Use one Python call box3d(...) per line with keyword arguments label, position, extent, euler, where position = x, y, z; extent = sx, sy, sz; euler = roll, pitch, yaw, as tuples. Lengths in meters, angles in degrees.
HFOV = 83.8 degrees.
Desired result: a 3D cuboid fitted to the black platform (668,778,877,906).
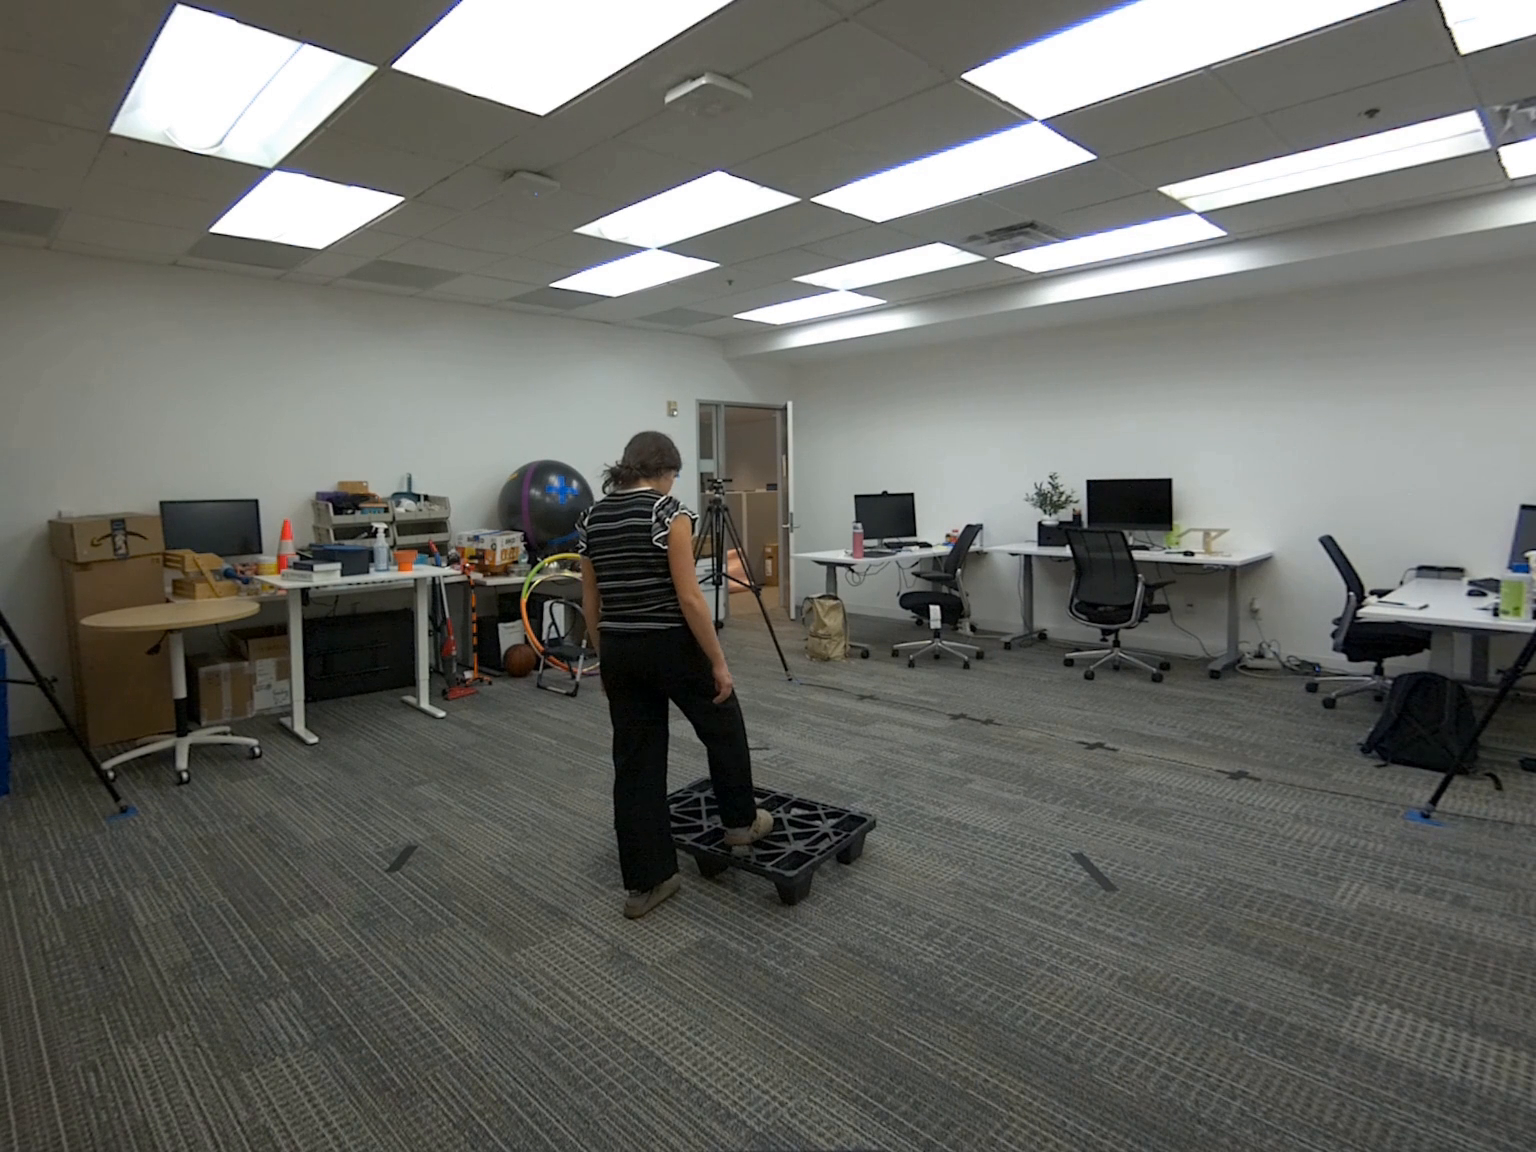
box3d(label="black platform", position=(-0.085, 0.966, 3.196), extent=(0.829, 0.143, 0.590), euler=(4, 7, 36))
